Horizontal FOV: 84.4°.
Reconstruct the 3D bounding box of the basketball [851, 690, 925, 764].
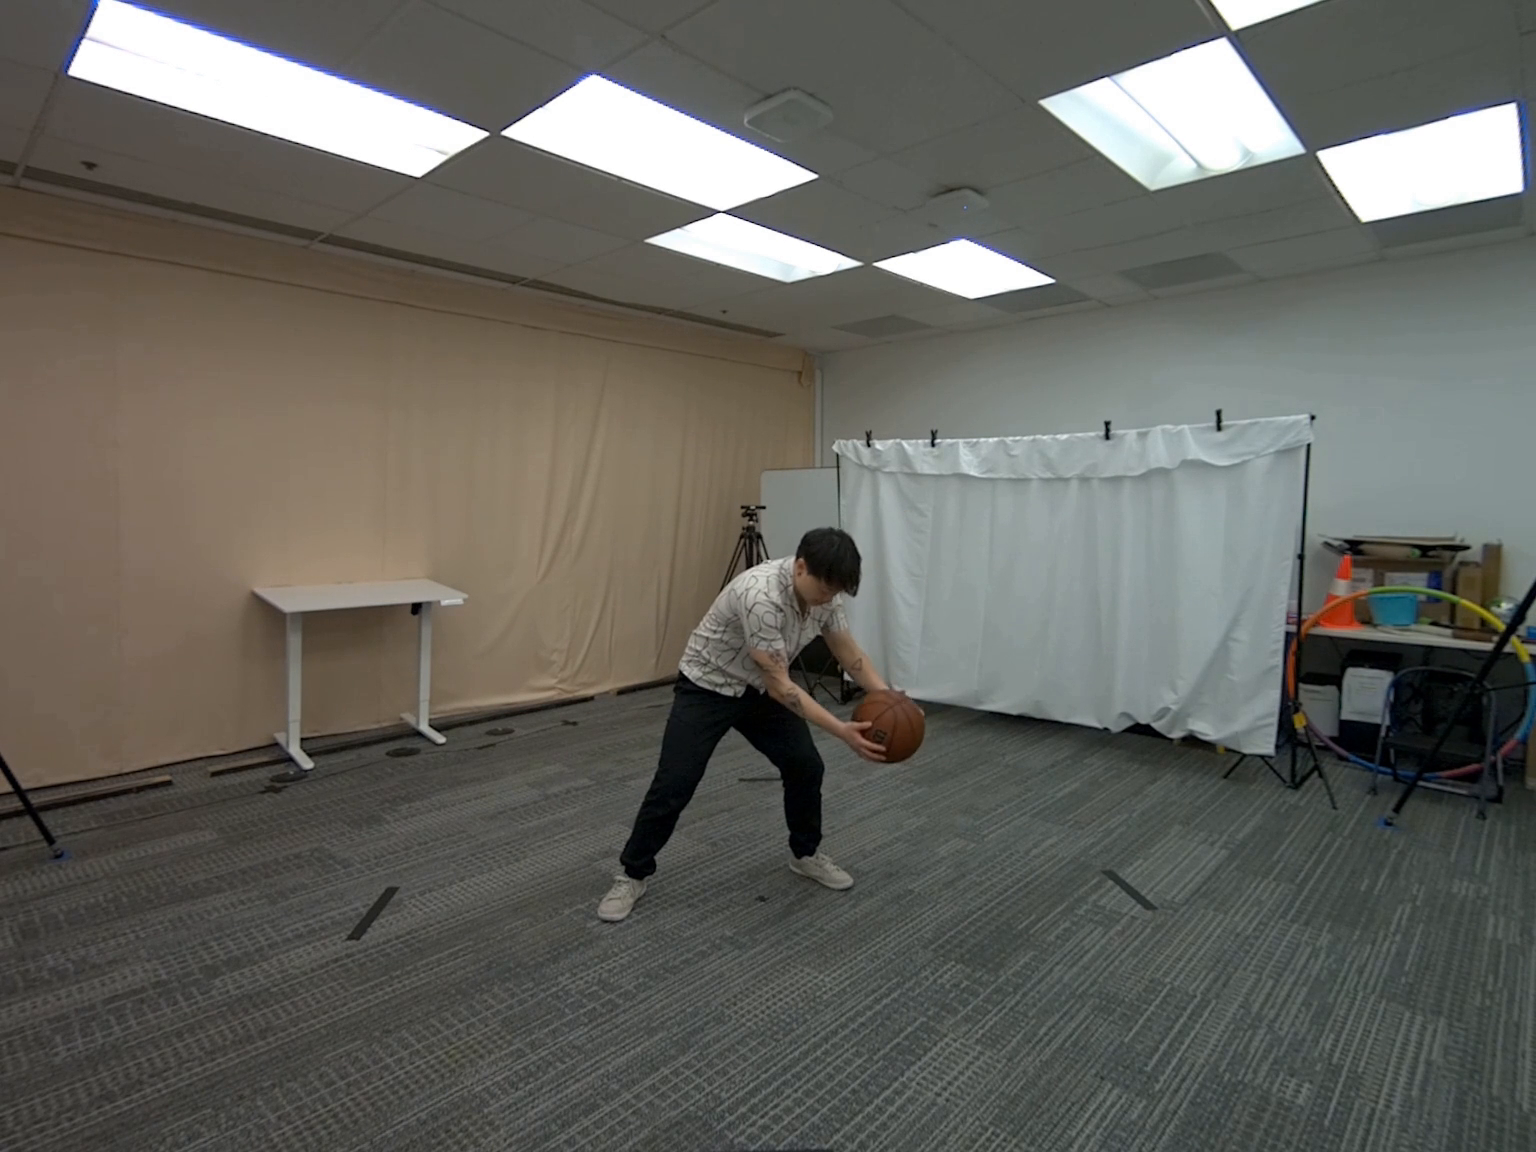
[{"bbox_3d":[0.399,0.488,2.763,0.236,0.235,0.237,0,4,-2],"label":"basketball"}]
